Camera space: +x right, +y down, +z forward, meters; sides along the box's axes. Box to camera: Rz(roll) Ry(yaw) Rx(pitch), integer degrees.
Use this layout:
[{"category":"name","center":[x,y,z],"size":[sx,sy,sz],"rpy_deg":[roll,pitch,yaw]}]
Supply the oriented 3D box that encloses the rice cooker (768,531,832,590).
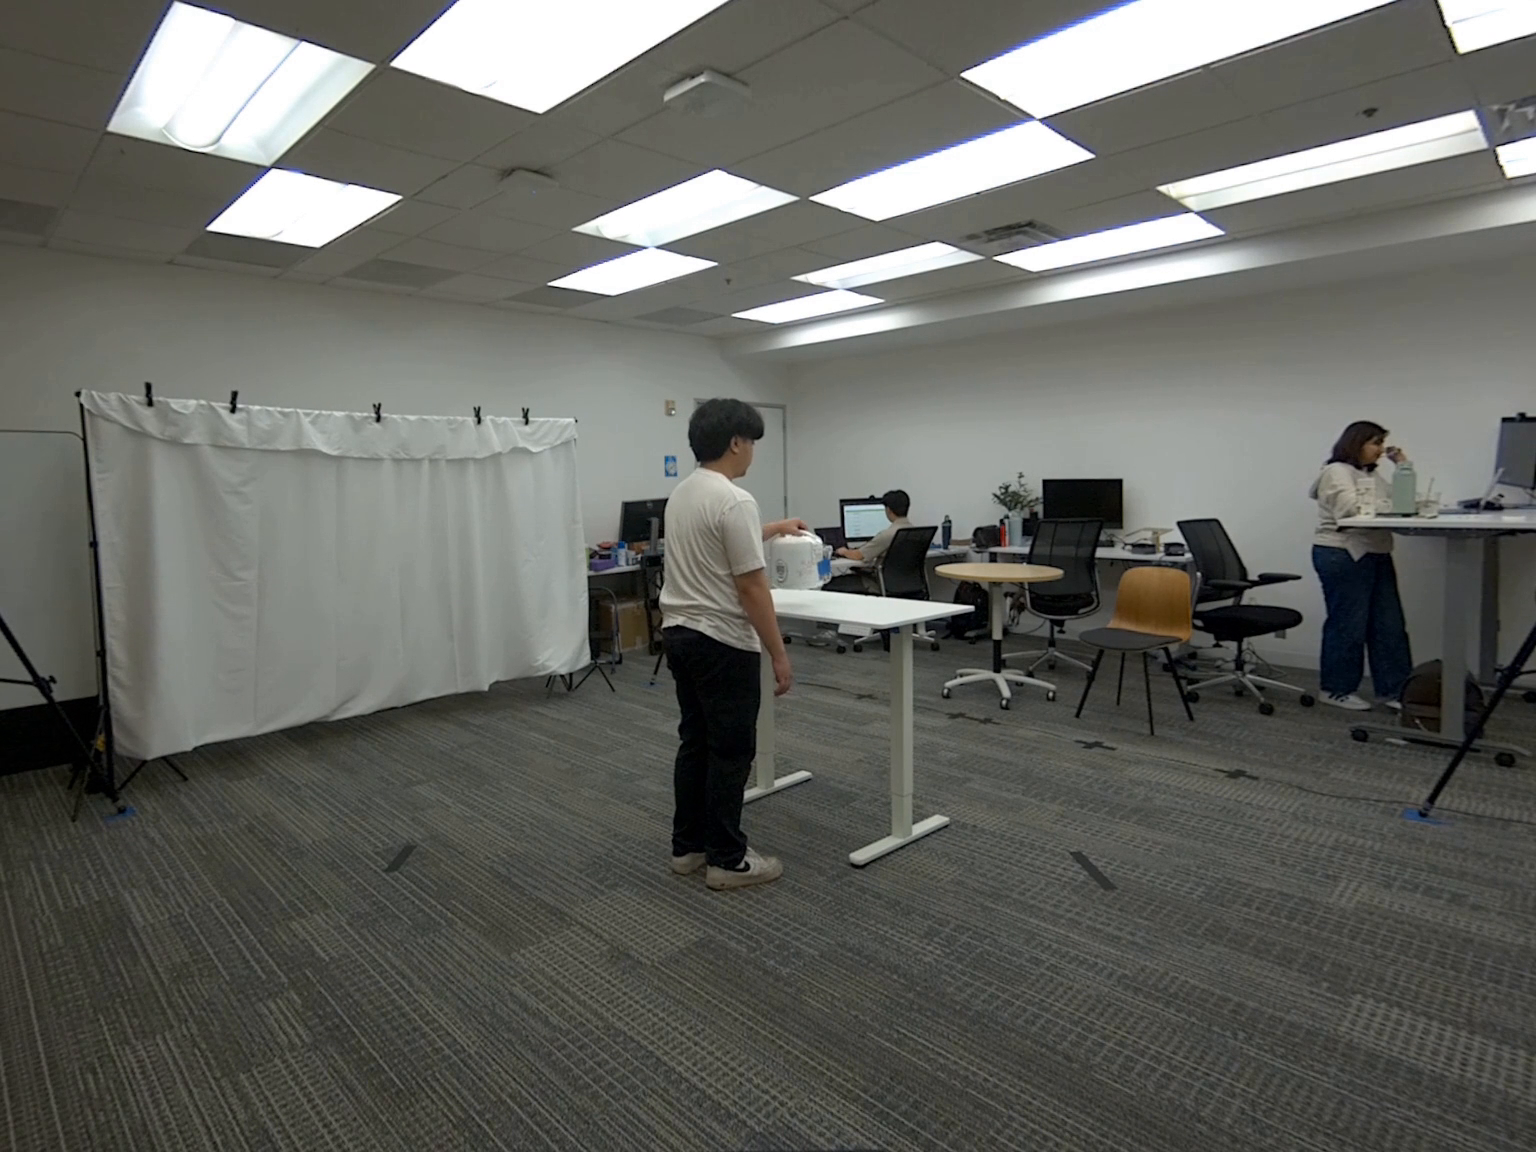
[{"category":"rice cooker","center":[0.121,-0.067,3.388],"size":[0.227,0.232,0.212],"rpy_deg":[2,6,41]}]
